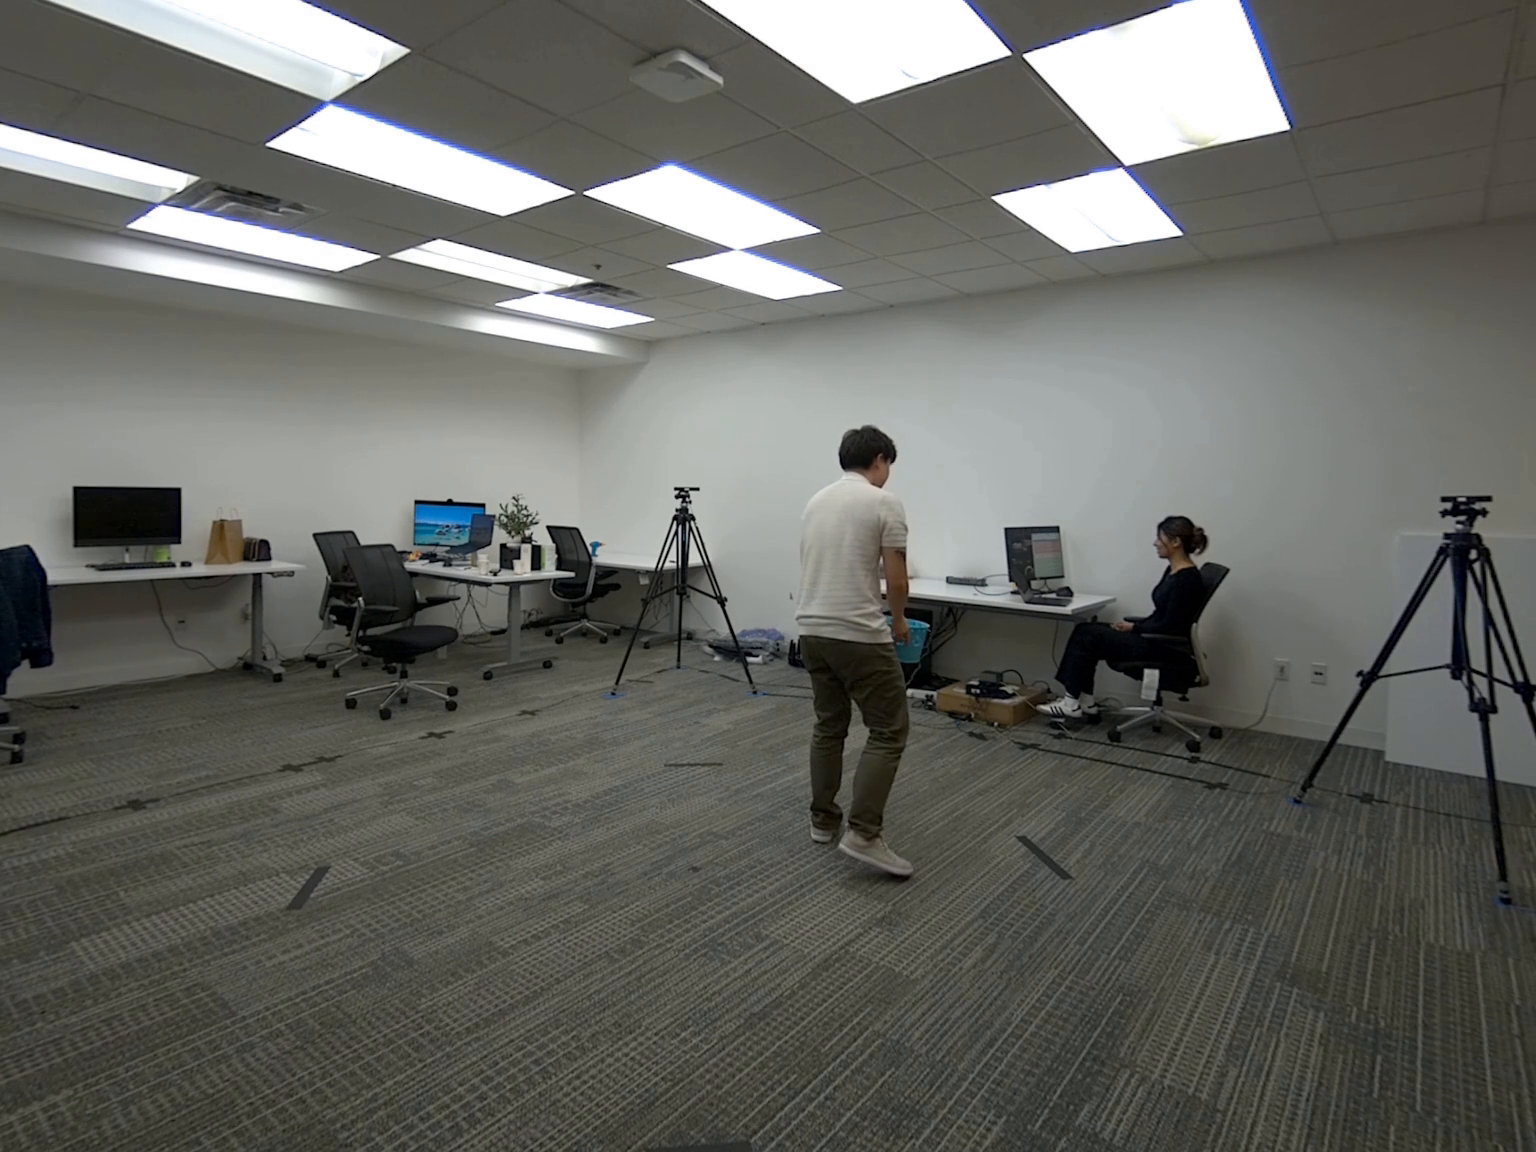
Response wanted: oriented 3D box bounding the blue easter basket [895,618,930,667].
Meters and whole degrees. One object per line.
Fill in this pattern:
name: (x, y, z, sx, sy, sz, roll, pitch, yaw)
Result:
blue easter basket: (0.558, 0.267, 3.549, 0.243, 0.155, 0.245, 6, 5, -2)
